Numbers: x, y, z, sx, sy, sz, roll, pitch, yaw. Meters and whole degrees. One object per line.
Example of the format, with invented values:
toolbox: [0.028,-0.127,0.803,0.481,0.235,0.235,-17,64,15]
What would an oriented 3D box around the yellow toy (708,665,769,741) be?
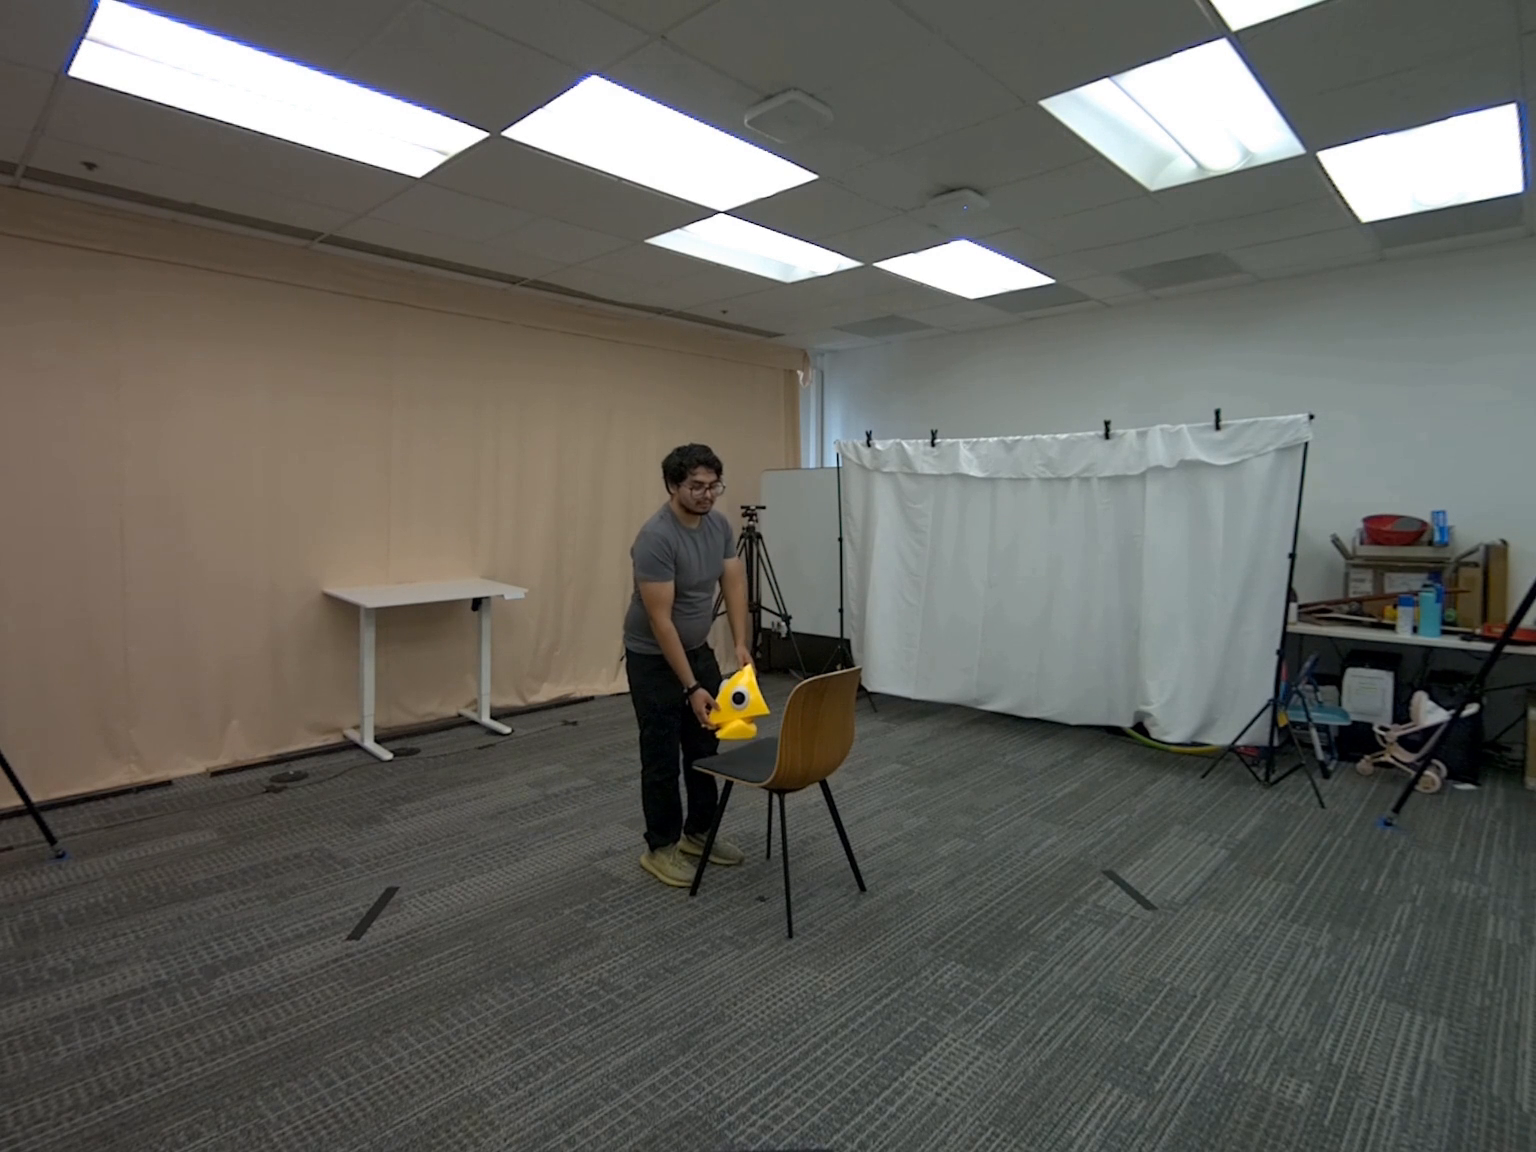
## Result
yellow toy: [-0.116,0.429,2.953,0.188,0.230,0.210,-1,8,-26]
